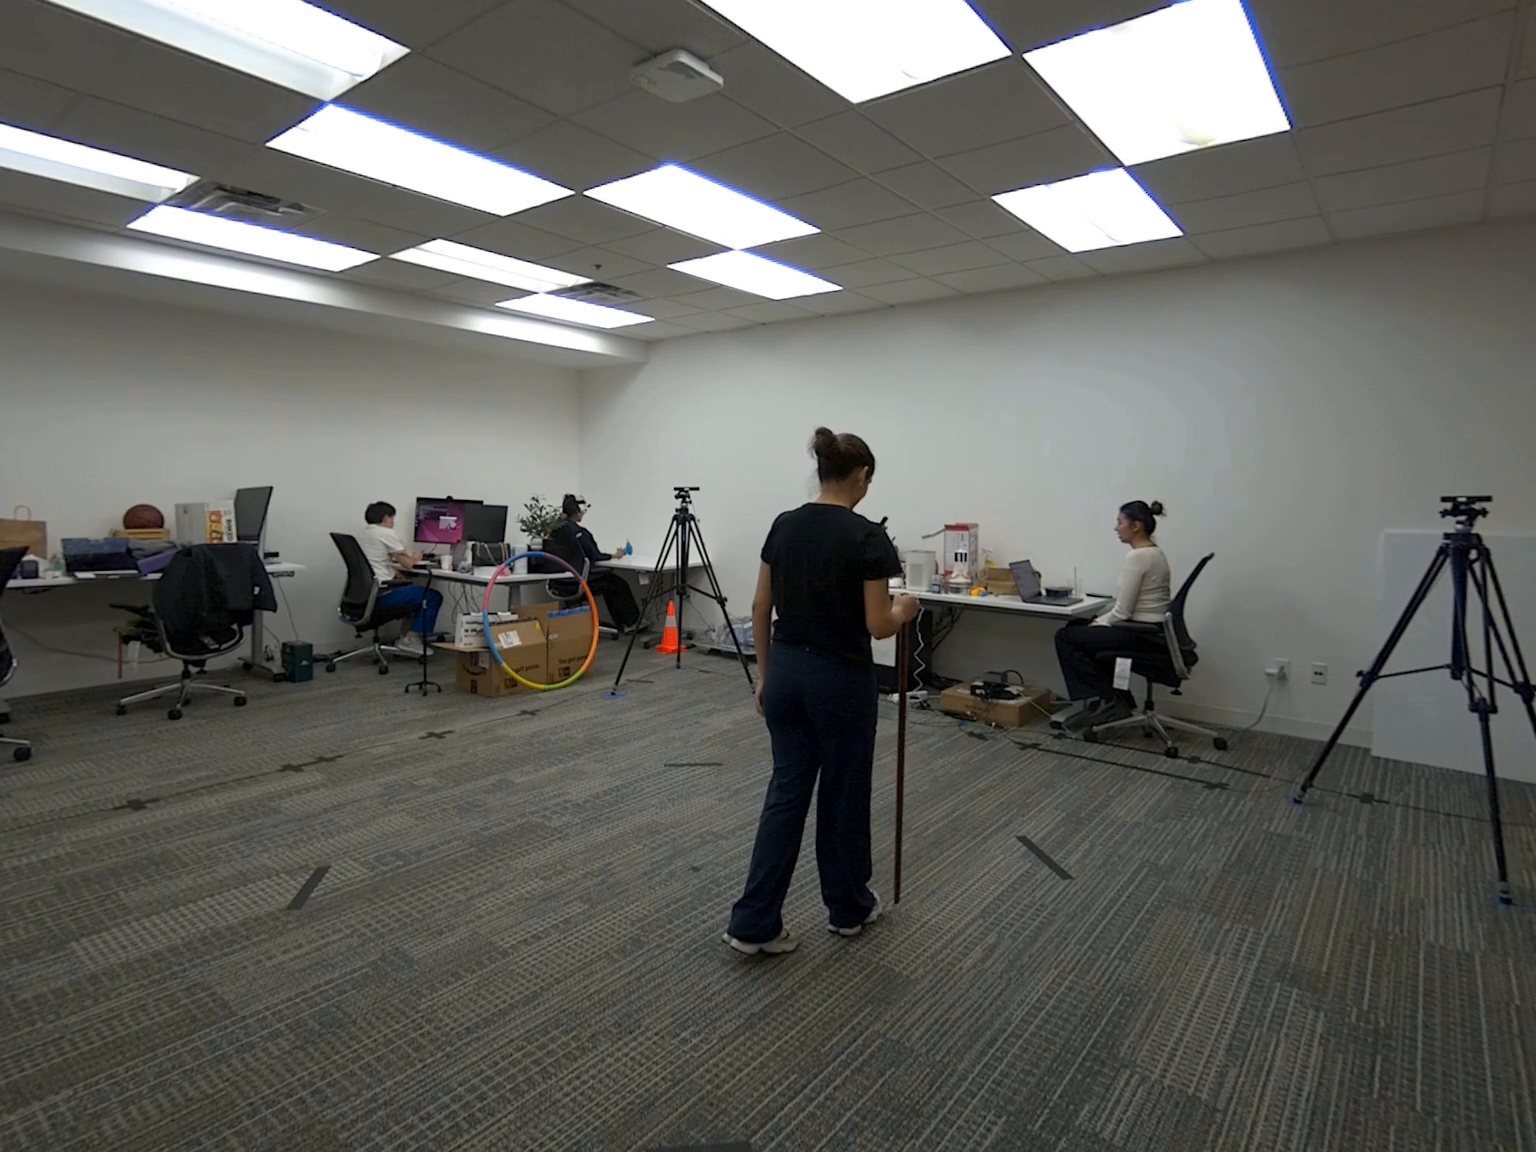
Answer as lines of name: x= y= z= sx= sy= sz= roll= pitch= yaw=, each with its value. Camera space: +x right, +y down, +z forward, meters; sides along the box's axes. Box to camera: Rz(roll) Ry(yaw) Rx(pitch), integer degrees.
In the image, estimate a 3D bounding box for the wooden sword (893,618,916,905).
wooden sword: x=0.441 y=0.582 z=2.752 sx=0.053 sy=1.022 sz=0.023 roll=4 pitch=3 yaw=26
